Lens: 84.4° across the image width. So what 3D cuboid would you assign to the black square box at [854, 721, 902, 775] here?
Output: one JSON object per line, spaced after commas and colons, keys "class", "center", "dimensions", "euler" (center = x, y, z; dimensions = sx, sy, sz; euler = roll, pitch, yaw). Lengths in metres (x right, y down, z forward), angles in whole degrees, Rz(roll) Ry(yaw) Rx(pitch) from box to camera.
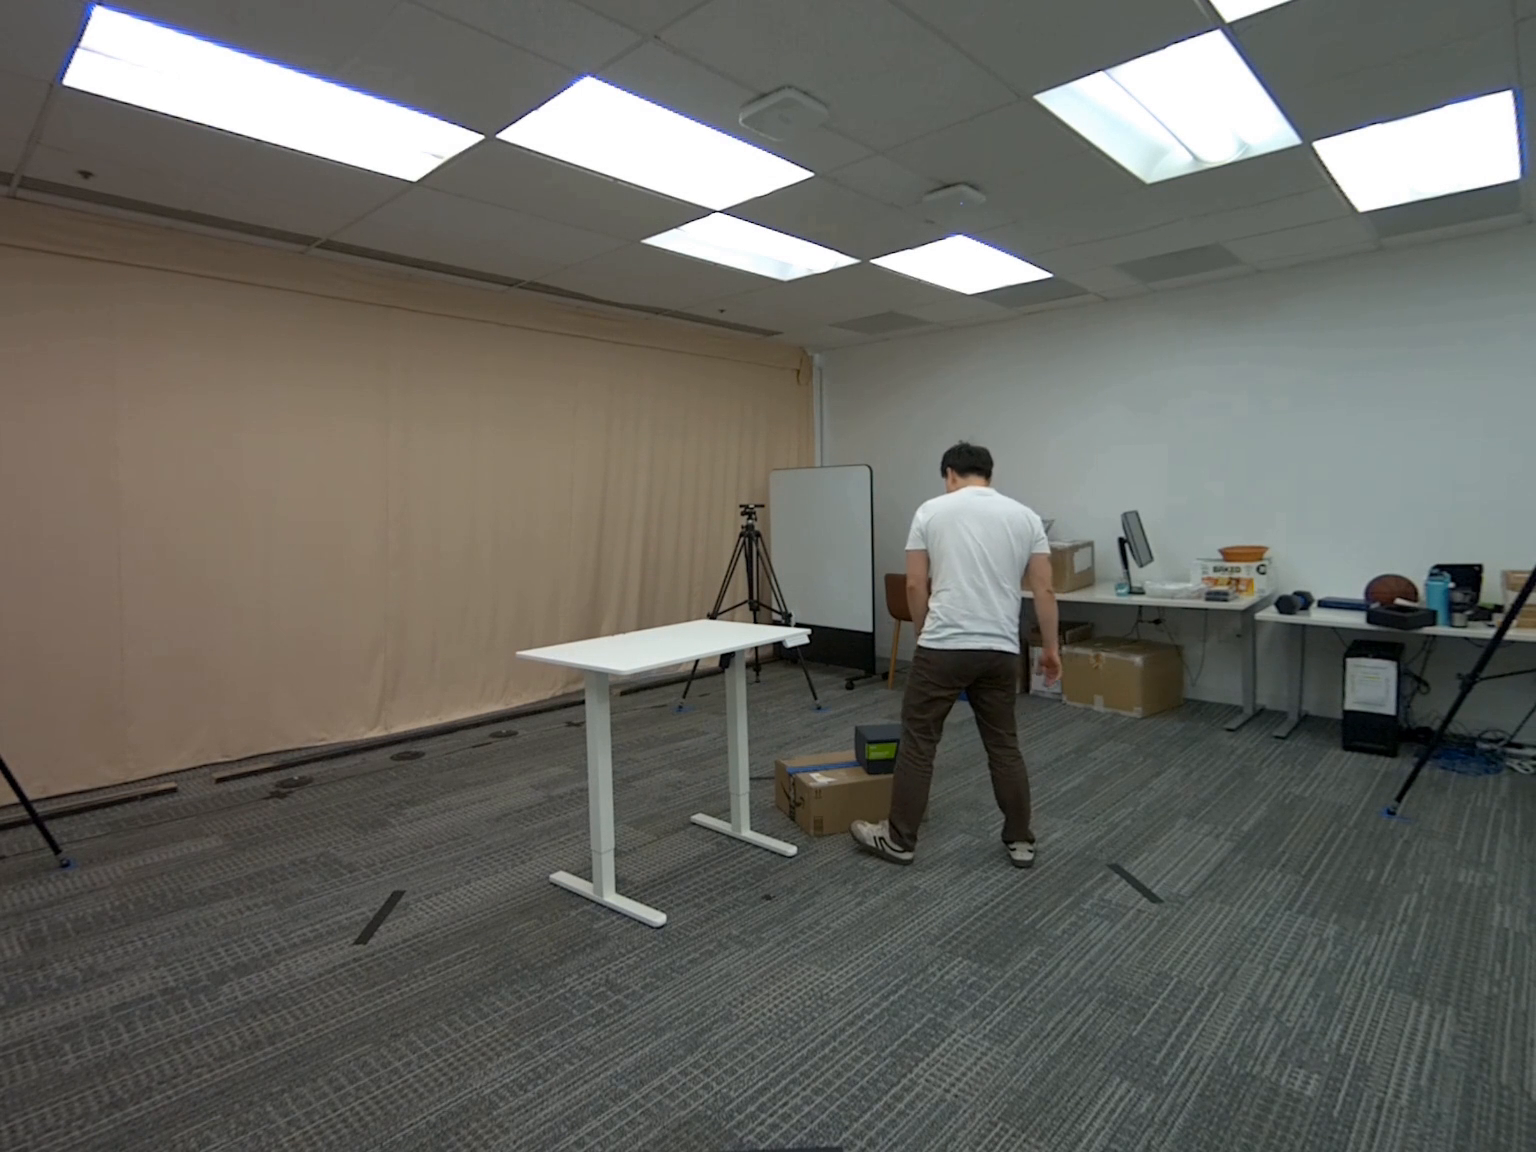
{"class": "black square box", "center": [0.529, 0.766, 3.746], "dimensions": [0.226, 0.155, 0.219], "euler": [-2, 5, -6]}
